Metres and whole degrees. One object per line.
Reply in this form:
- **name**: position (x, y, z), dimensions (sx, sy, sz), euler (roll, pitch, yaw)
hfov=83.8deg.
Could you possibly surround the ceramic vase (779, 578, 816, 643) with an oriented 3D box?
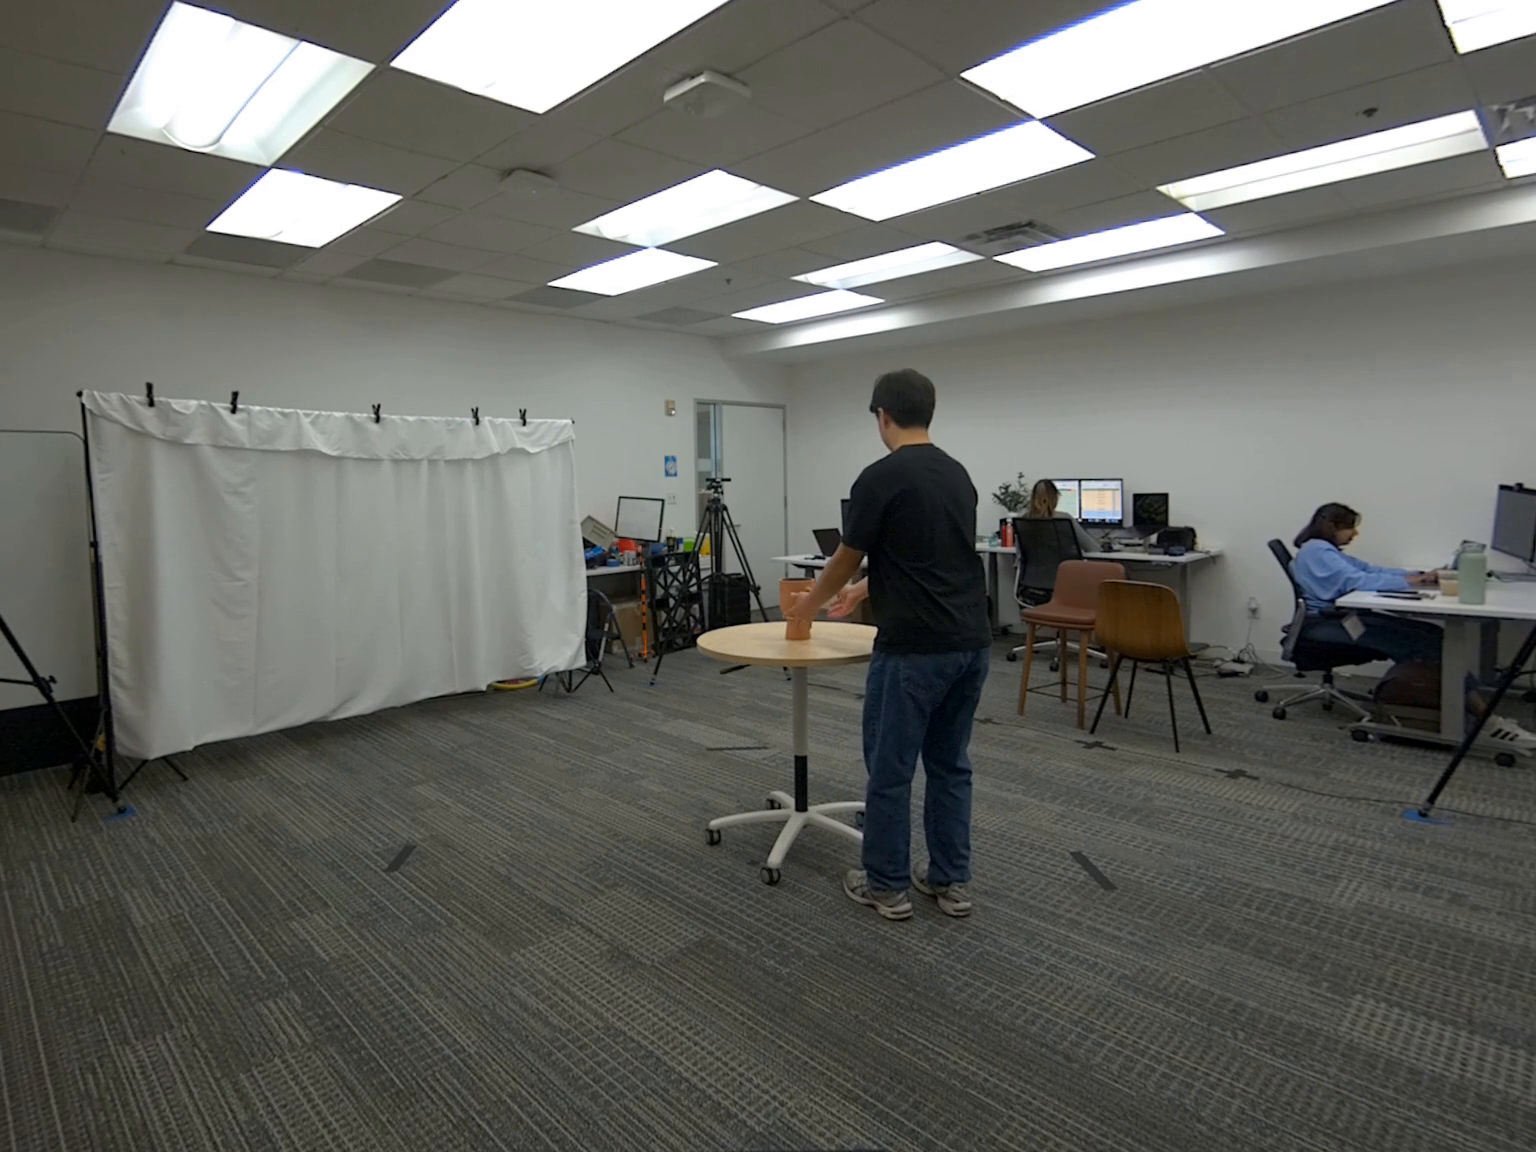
- **ceramic vase**: position (0.114, 0.123, 3.189), dimensions (0.135, 0.219, 0.158), euler (0, 4, 5)
